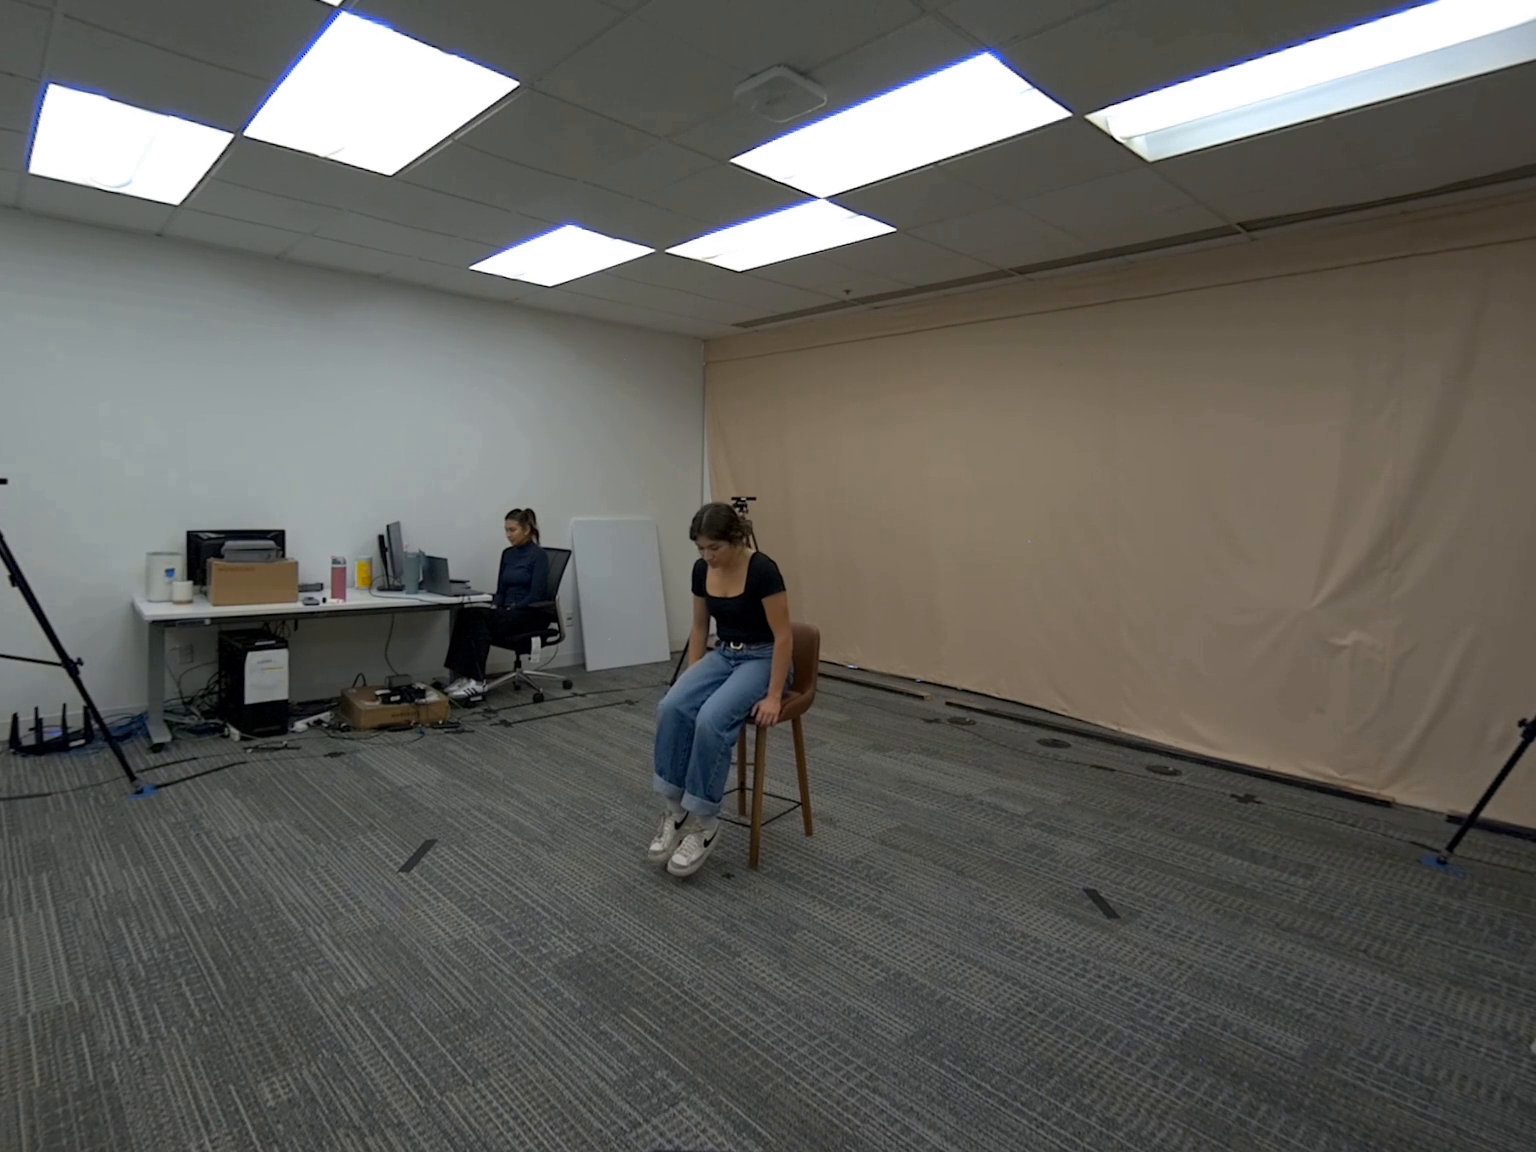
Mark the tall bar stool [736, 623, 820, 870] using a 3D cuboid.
[{"bbox_3d":[-0.076,0.648,3.432,0.467,0.888,0.457,4,3,36],"label":"tall bar stool"}]
